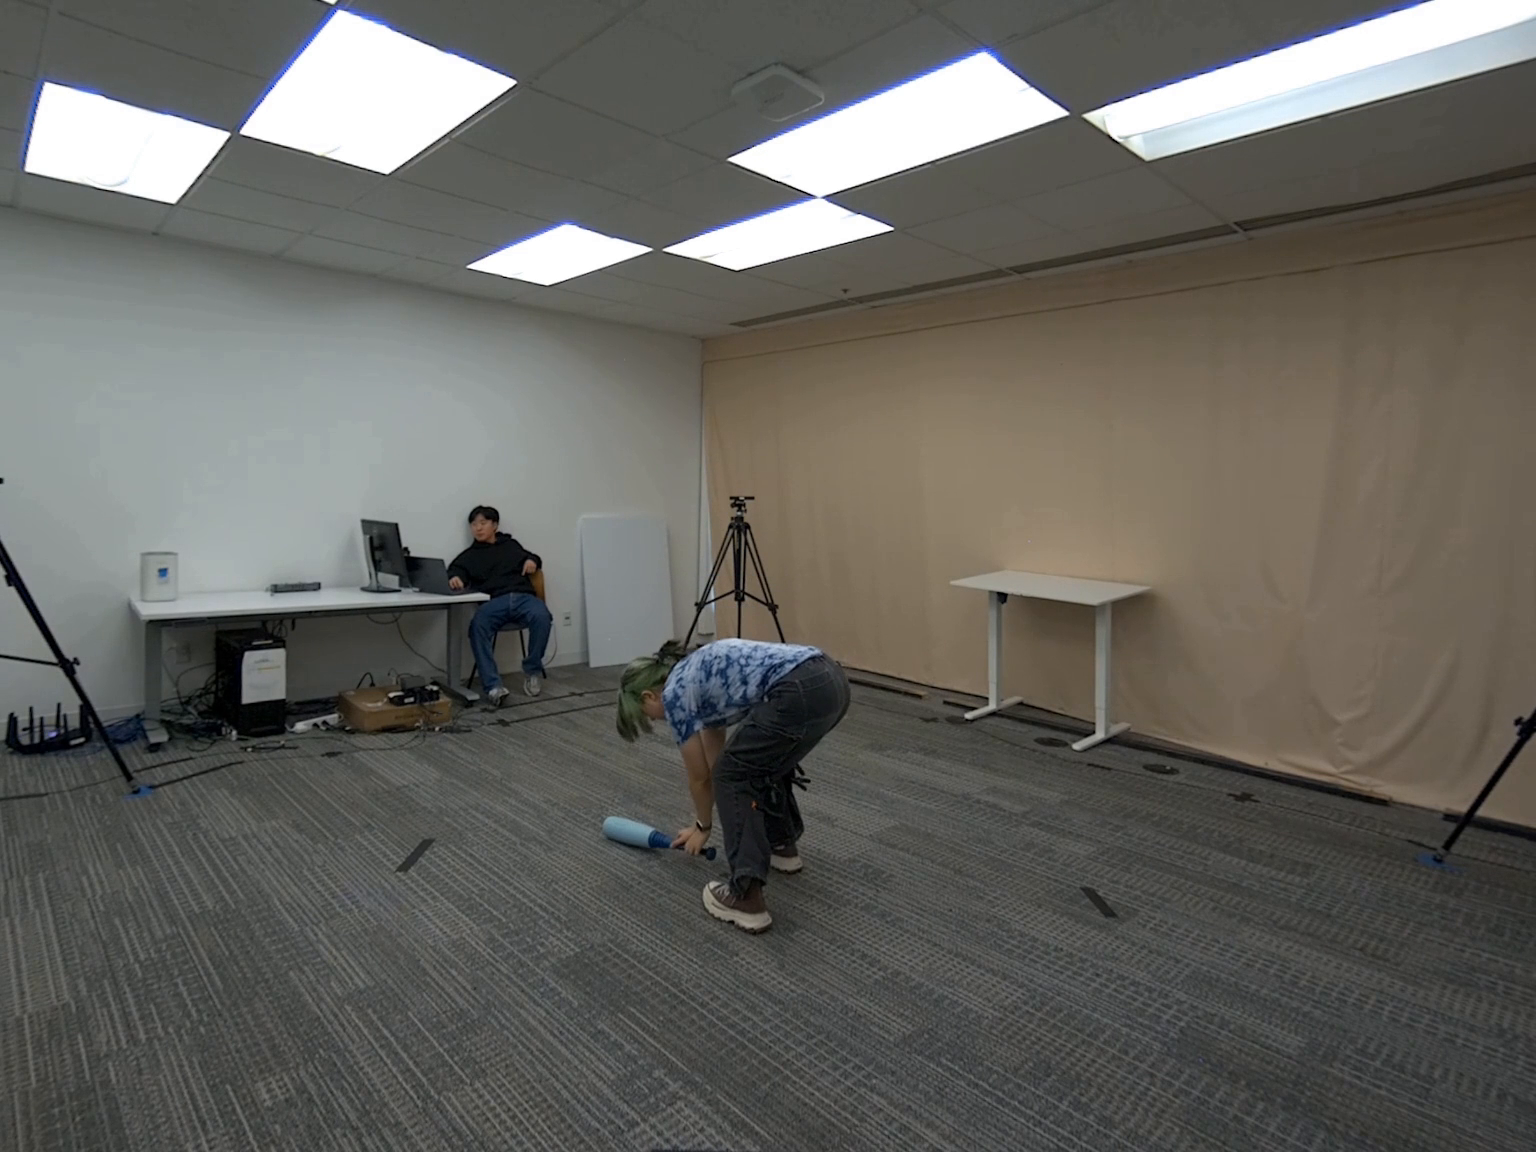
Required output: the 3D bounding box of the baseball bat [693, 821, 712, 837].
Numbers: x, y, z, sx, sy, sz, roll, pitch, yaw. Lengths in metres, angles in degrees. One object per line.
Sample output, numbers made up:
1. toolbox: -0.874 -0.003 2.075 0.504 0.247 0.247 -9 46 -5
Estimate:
1. baseball bat: -0.430 1.024 3.268 0.555 0.089 0.087 2 4 35
